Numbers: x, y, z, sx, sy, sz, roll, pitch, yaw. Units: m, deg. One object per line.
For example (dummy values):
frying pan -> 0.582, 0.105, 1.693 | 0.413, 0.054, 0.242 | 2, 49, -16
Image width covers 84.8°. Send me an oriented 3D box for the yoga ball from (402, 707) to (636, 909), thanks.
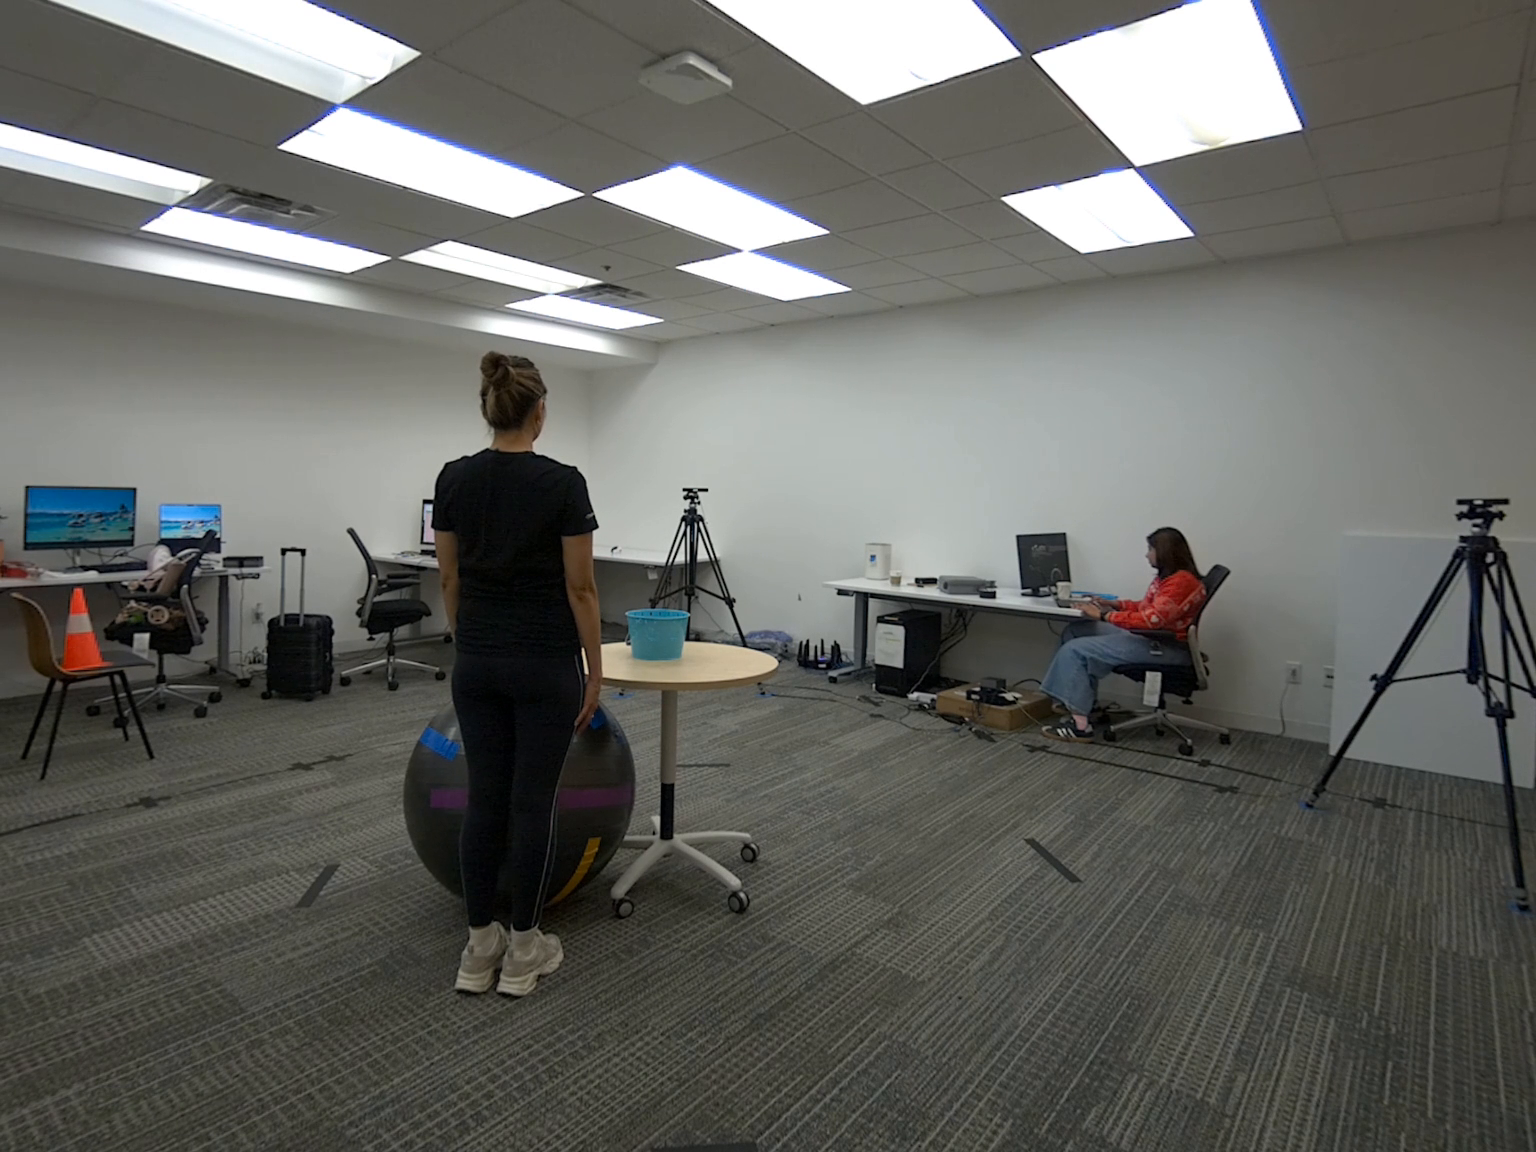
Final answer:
yoga ball -> -0.846, 0.723, 2.853 | 0.757, 0.756, 0.761 | 1, 4, -2
